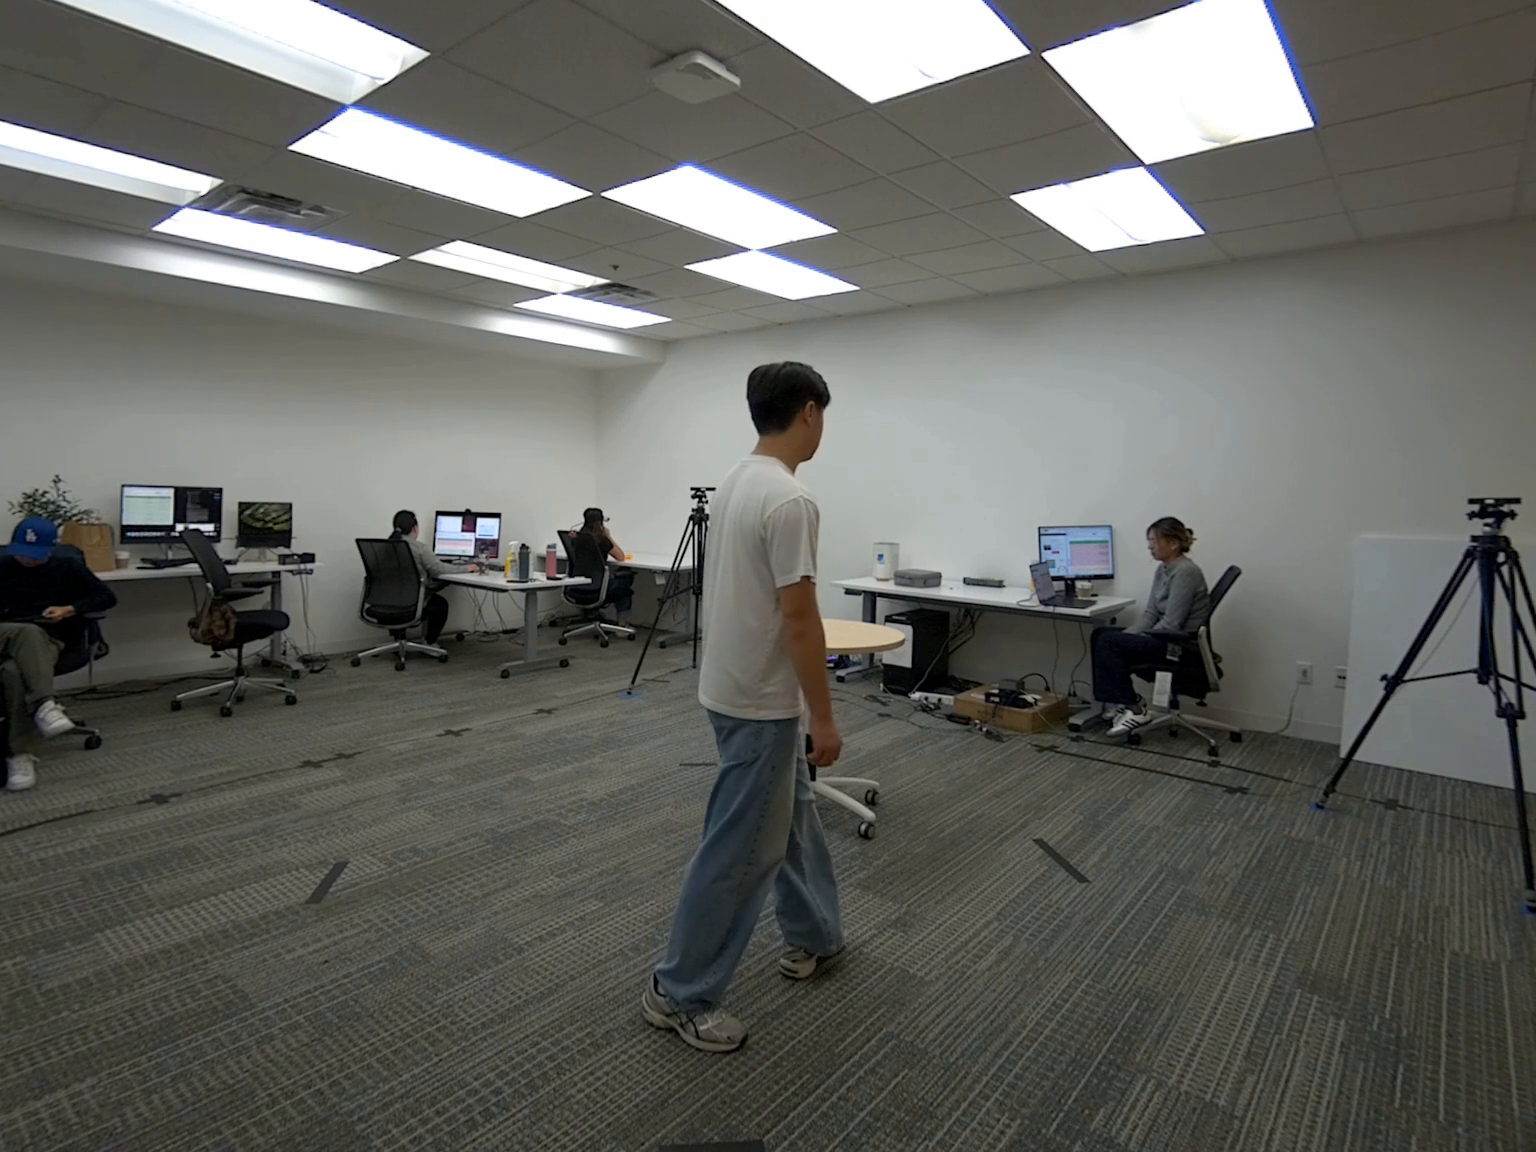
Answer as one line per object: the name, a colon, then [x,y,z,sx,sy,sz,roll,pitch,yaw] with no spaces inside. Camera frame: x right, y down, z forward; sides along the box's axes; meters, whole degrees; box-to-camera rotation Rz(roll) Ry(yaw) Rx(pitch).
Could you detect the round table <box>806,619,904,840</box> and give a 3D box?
round table: [0.174,0.629,3.667,0.763,0.791,0.768,1,4,-2]
